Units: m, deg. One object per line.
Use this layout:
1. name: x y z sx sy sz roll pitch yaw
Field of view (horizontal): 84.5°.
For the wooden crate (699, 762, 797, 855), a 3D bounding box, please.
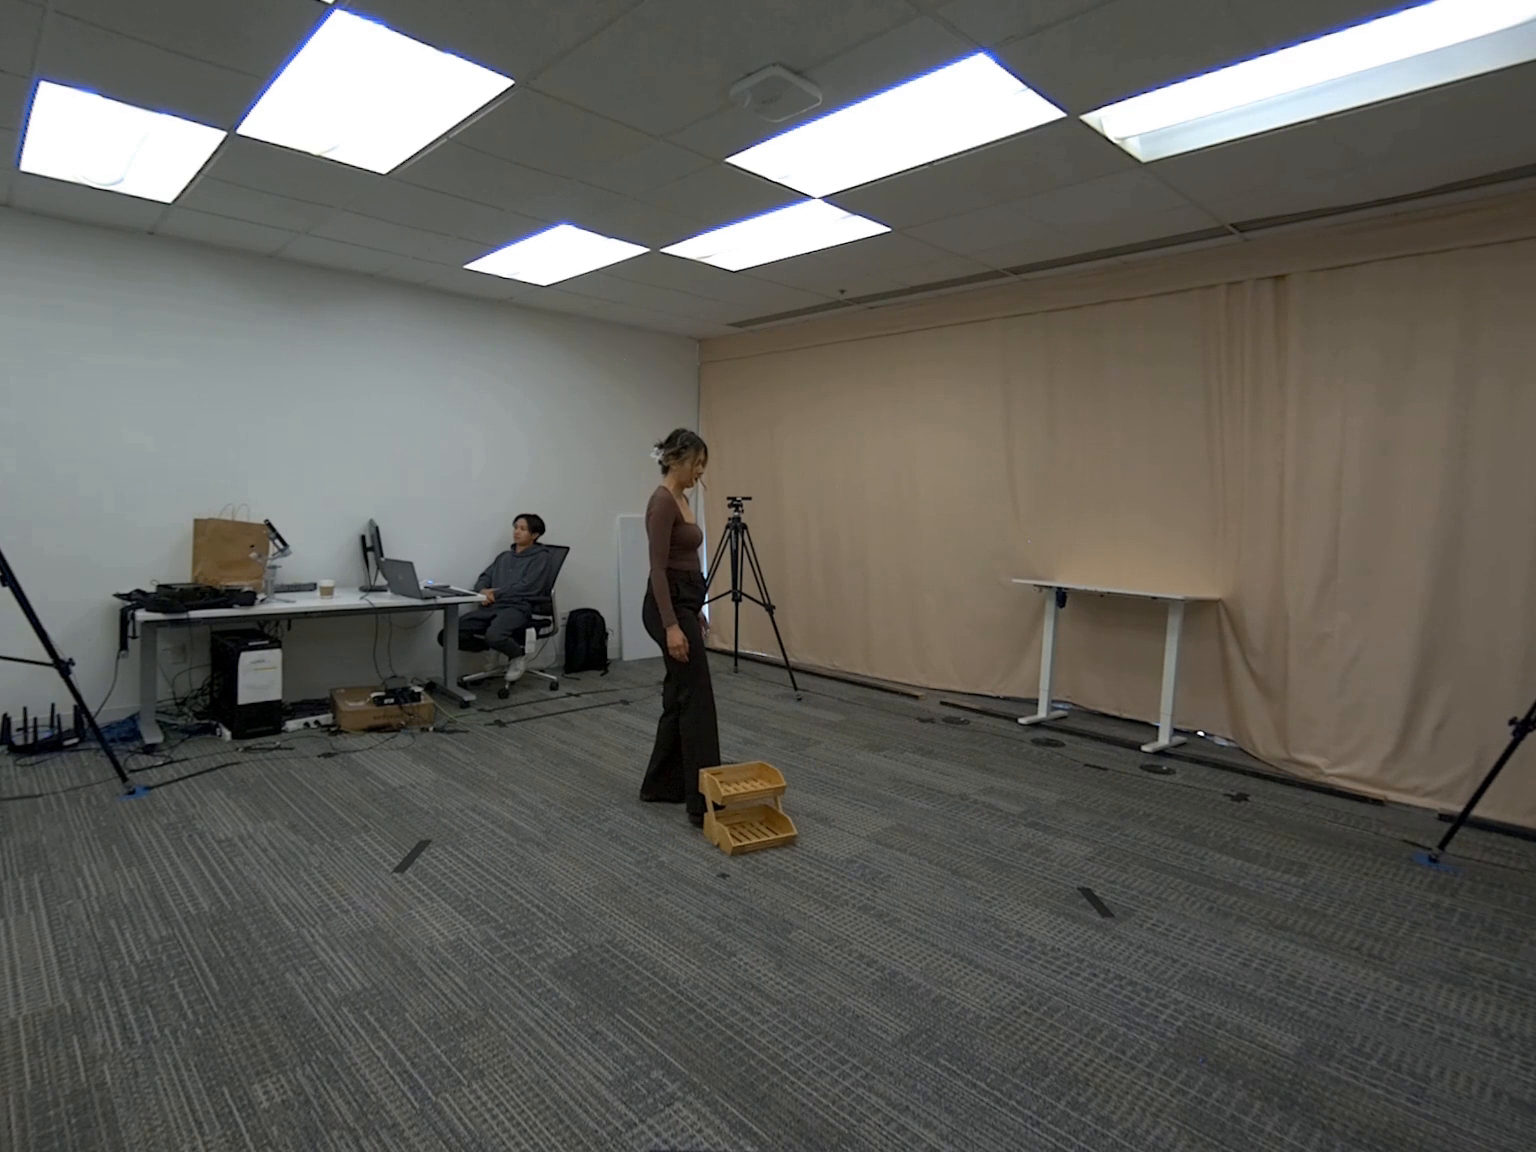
1. wooden crate: -0.091 0.943 3.455 0.318 0.273 0.309 -1 4 -30
